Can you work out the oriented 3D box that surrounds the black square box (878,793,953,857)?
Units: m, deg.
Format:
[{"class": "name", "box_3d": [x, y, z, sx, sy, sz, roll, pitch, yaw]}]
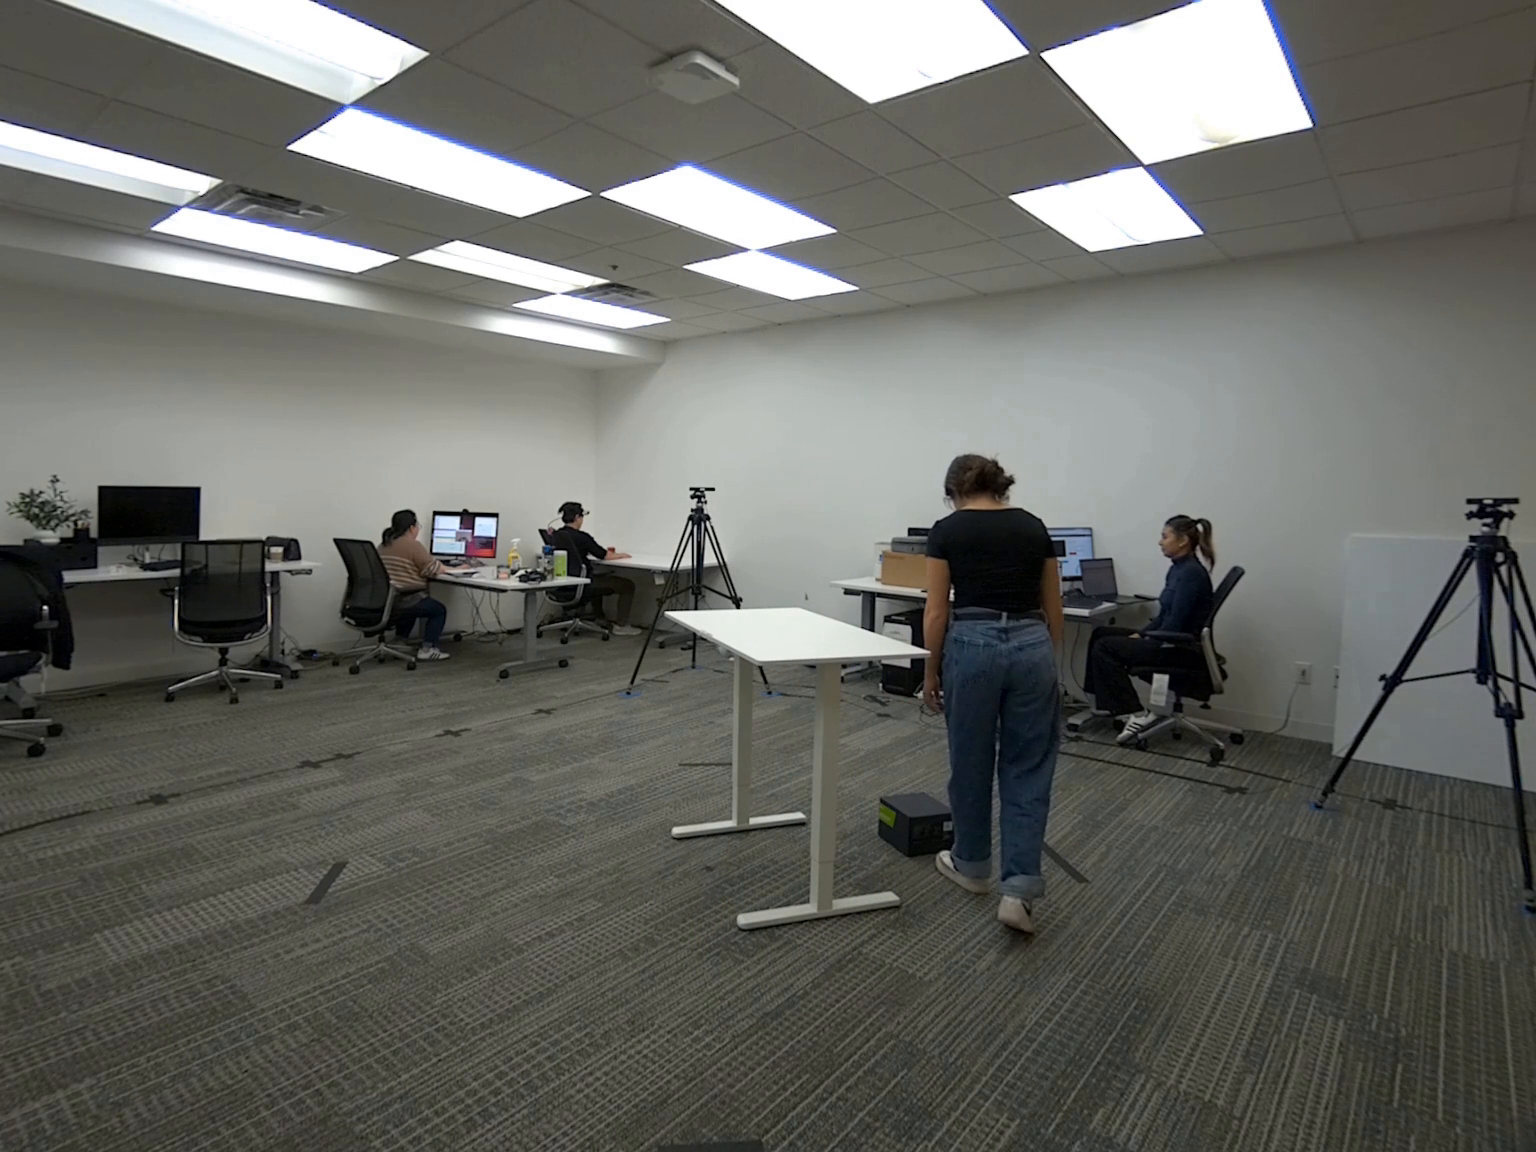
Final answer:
[{"class": "black square box", "box_3d": [0.583, 0.974, 3.376, 0.212, 0.155, 0.234, -1, 5, -22]}]
